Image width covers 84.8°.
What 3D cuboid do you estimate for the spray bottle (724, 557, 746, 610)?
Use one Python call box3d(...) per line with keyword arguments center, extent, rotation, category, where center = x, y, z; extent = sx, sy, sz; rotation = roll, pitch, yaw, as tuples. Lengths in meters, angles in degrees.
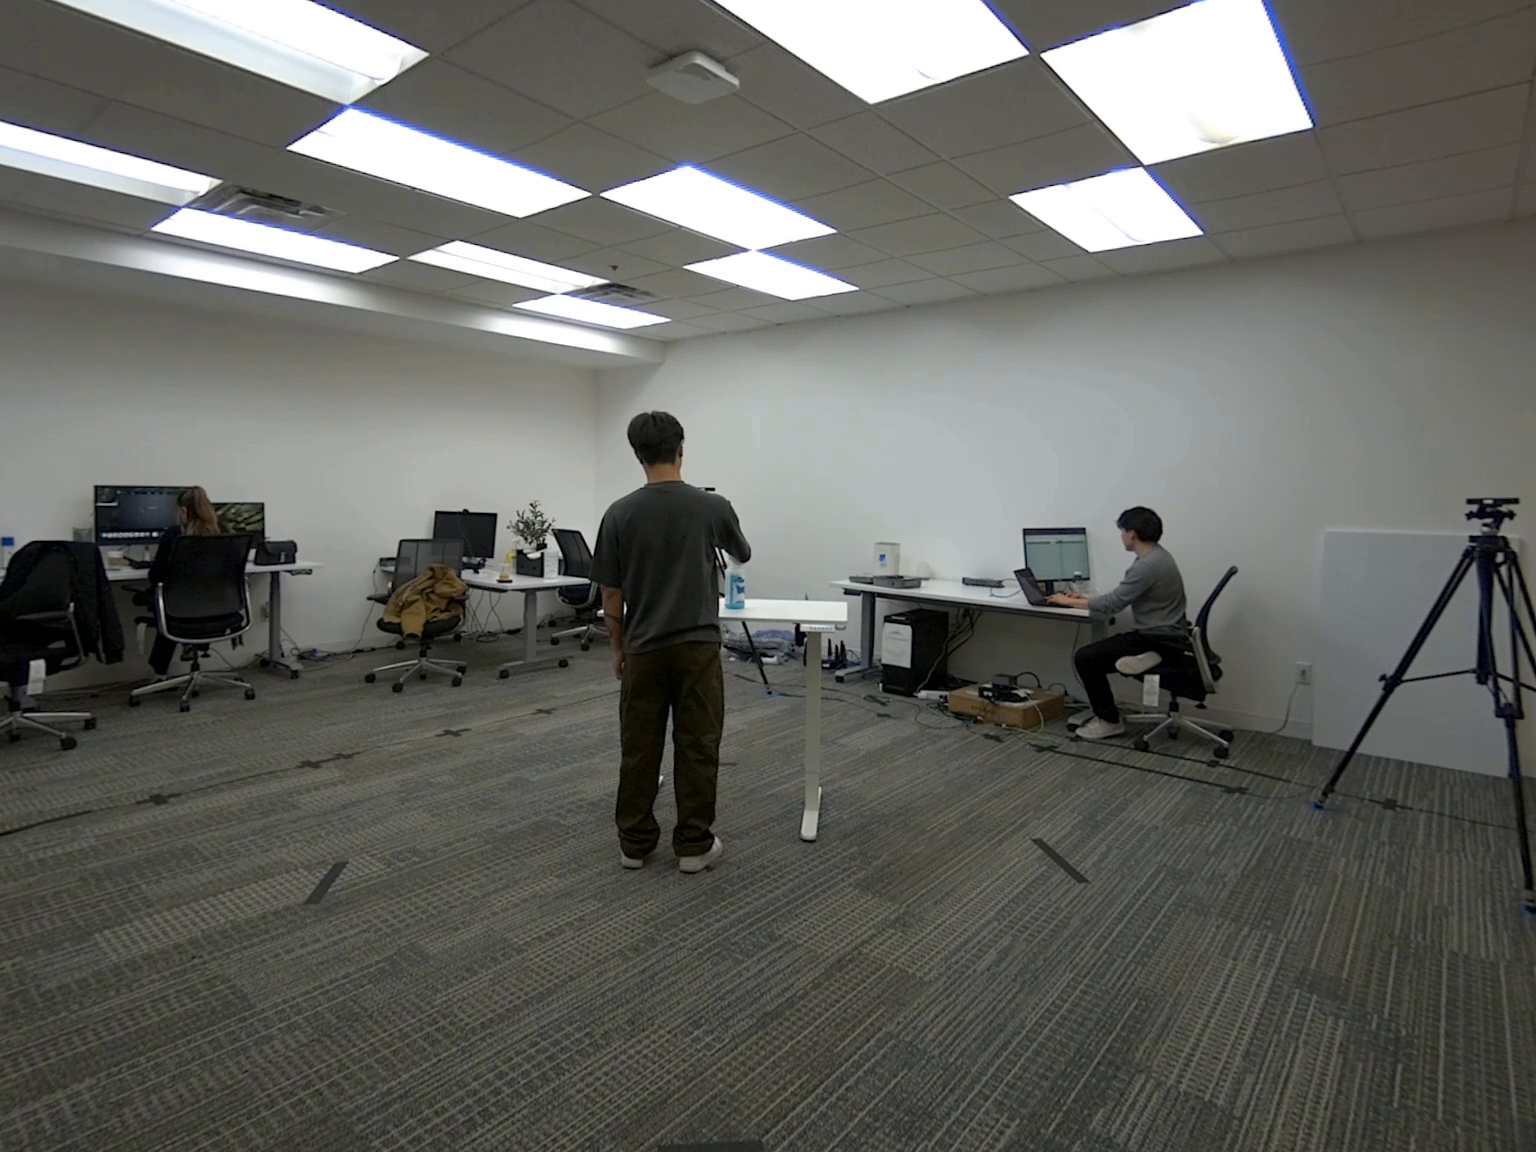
box3d(center=(-0.150, -0.013, 3.640), extent=(0.089, 0.298, 0.088), rotation=(-2, -4, 19), category="spray bottle")
